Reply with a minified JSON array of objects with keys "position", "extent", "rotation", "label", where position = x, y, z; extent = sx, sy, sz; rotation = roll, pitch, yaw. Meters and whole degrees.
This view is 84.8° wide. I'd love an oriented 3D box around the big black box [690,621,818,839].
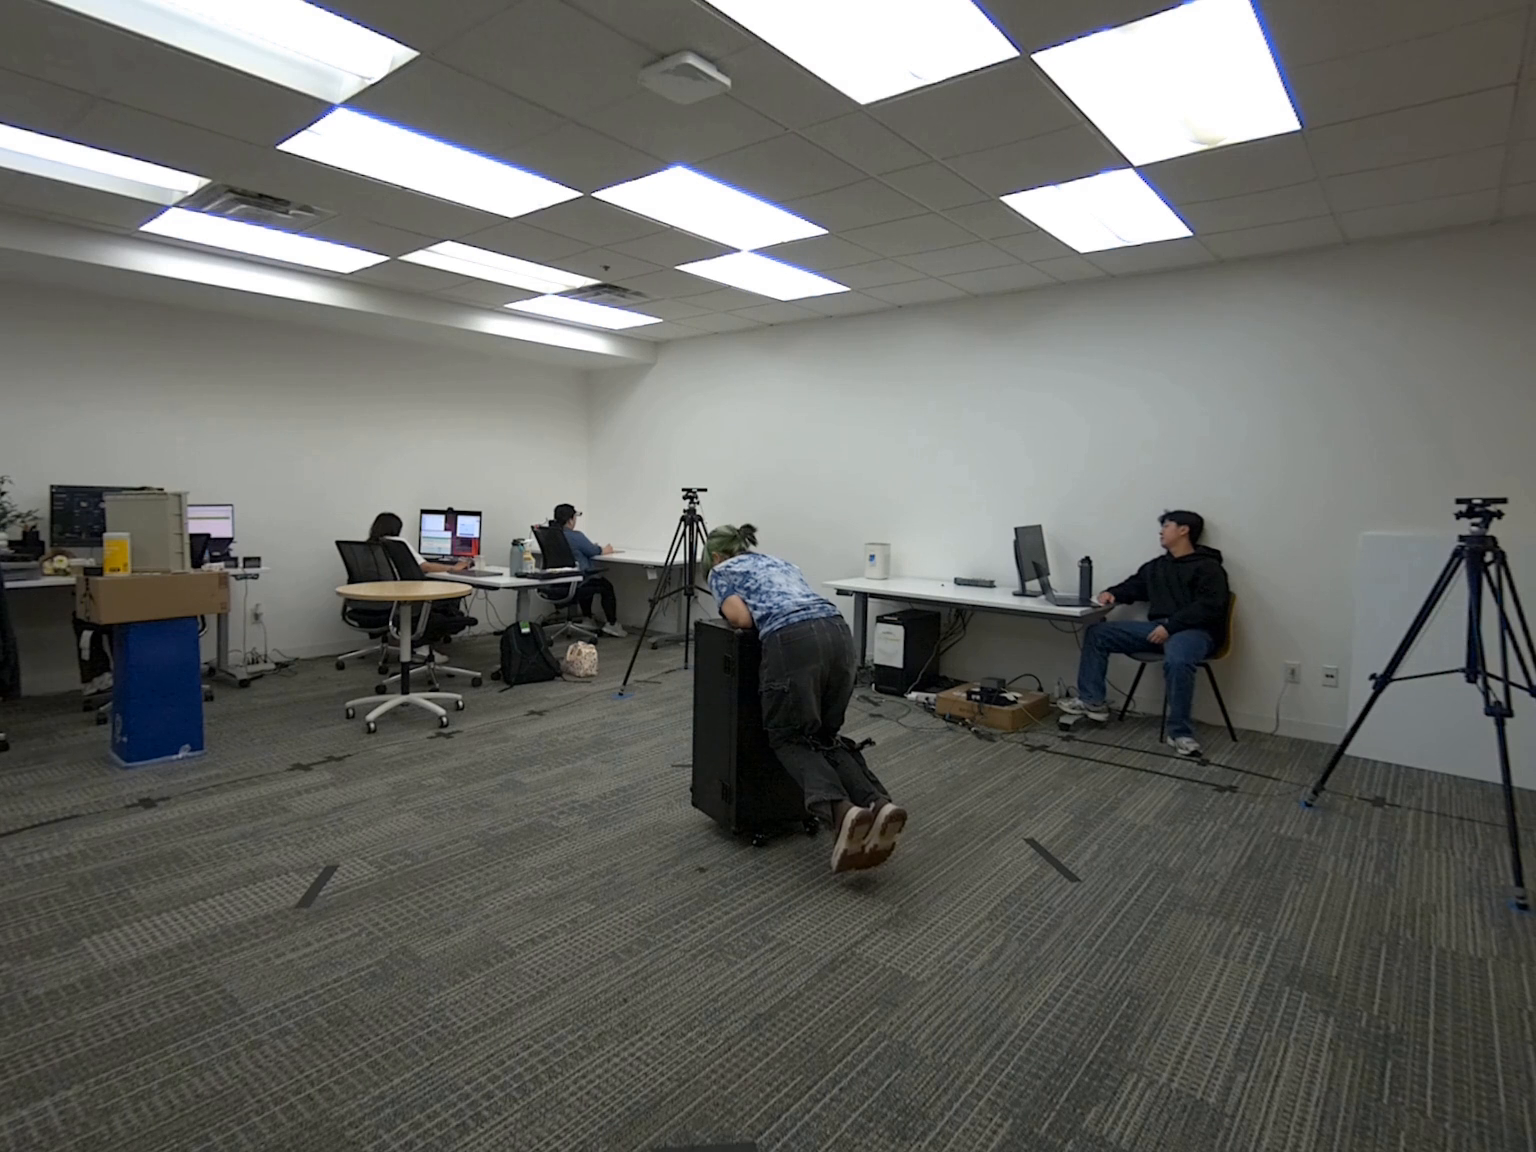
[{"position":[-0.032,0.557,3.515],"extent":[0.507,0.860,0.408],"rotation":[0,2,-32],"label":"big black box"}]
